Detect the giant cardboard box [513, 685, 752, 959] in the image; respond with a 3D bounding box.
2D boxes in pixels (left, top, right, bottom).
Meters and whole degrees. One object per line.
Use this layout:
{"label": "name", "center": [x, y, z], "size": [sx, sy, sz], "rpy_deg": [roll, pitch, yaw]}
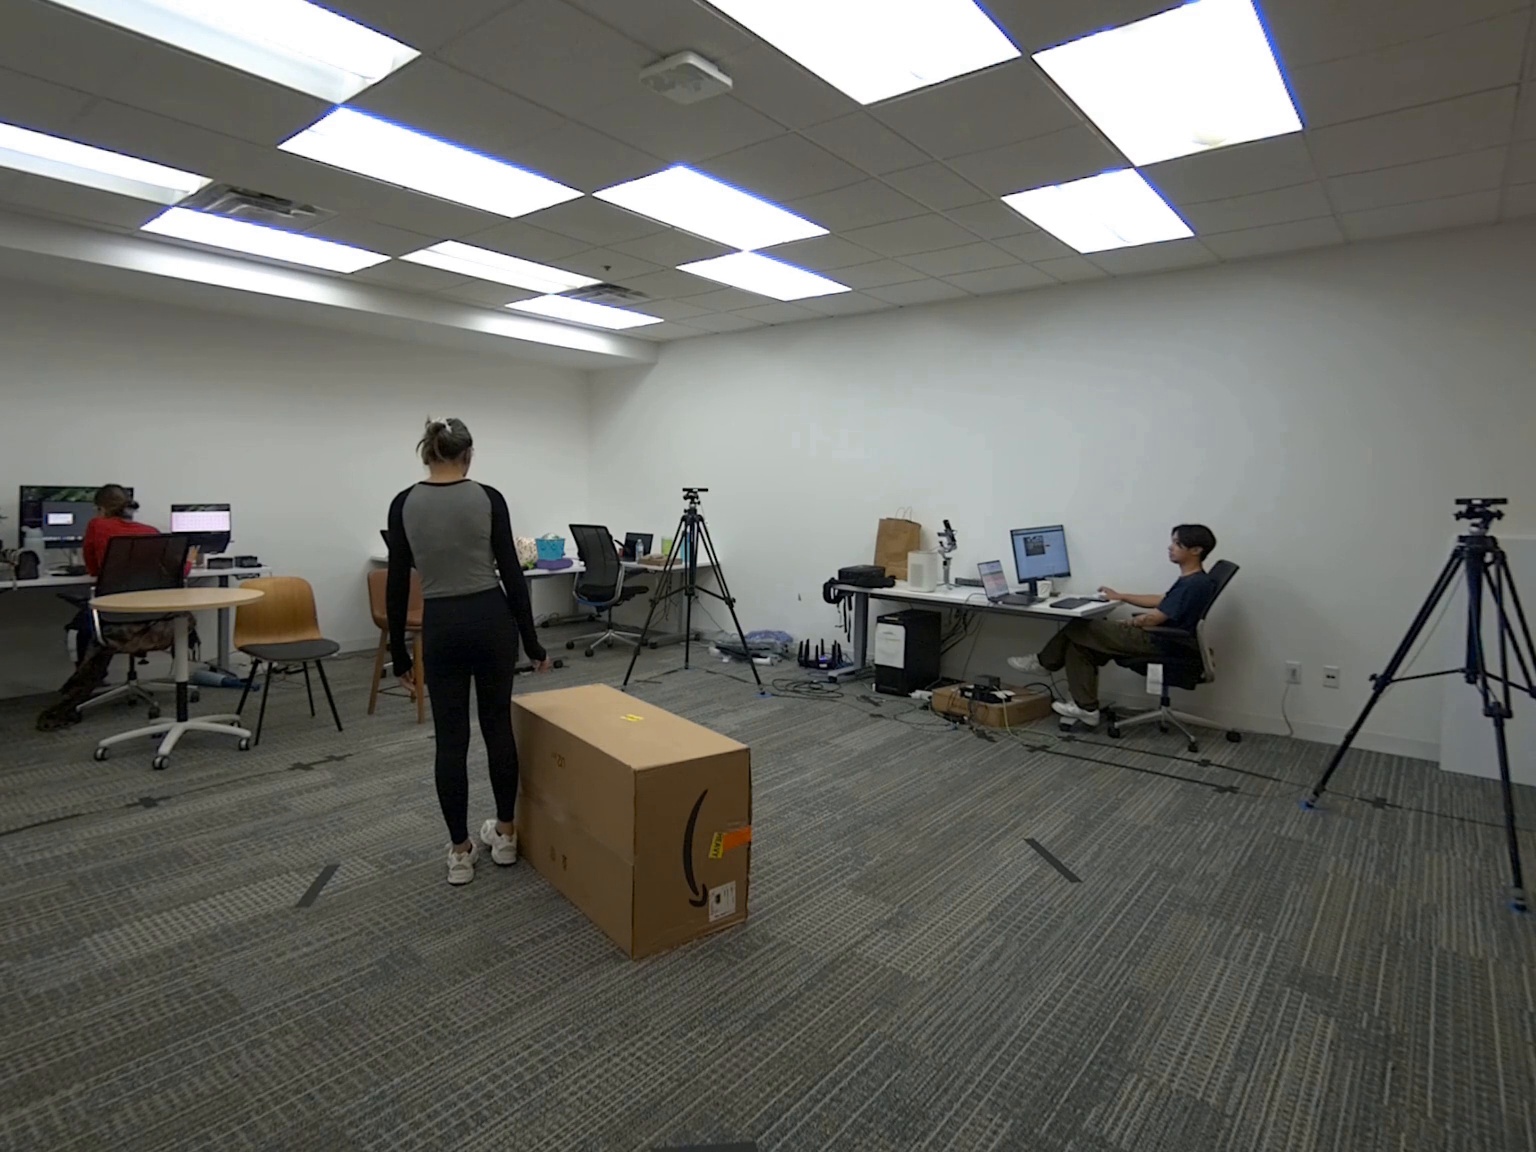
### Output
{"label": "giant cardboard box", "center": [-0.544, 0.786, 3.010], "size": [0.414, 0.575, 1.060], "rpy_deg": [-2, 6, -37]}
